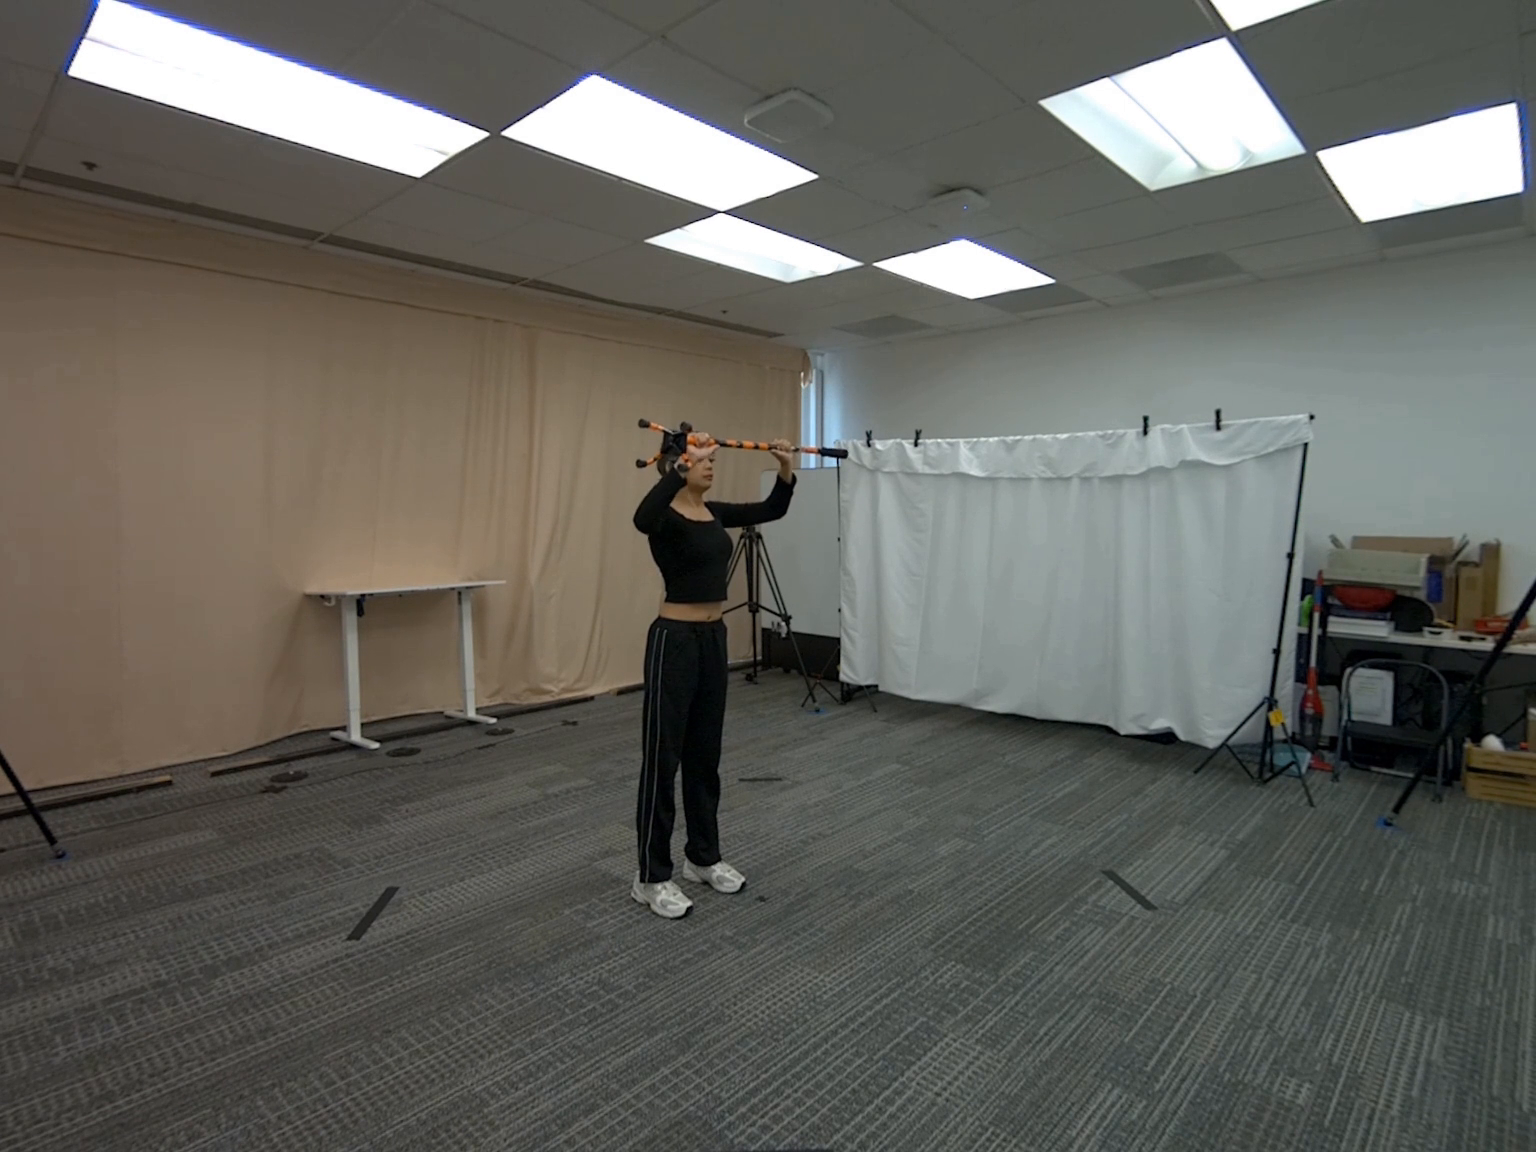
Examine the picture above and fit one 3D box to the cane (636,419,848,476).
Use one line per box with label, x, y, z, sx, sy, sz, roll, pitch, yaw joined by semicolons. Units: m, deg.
cane;-0.045;-0.429;2.874;0.214;0.151;0.881;12;11;38
